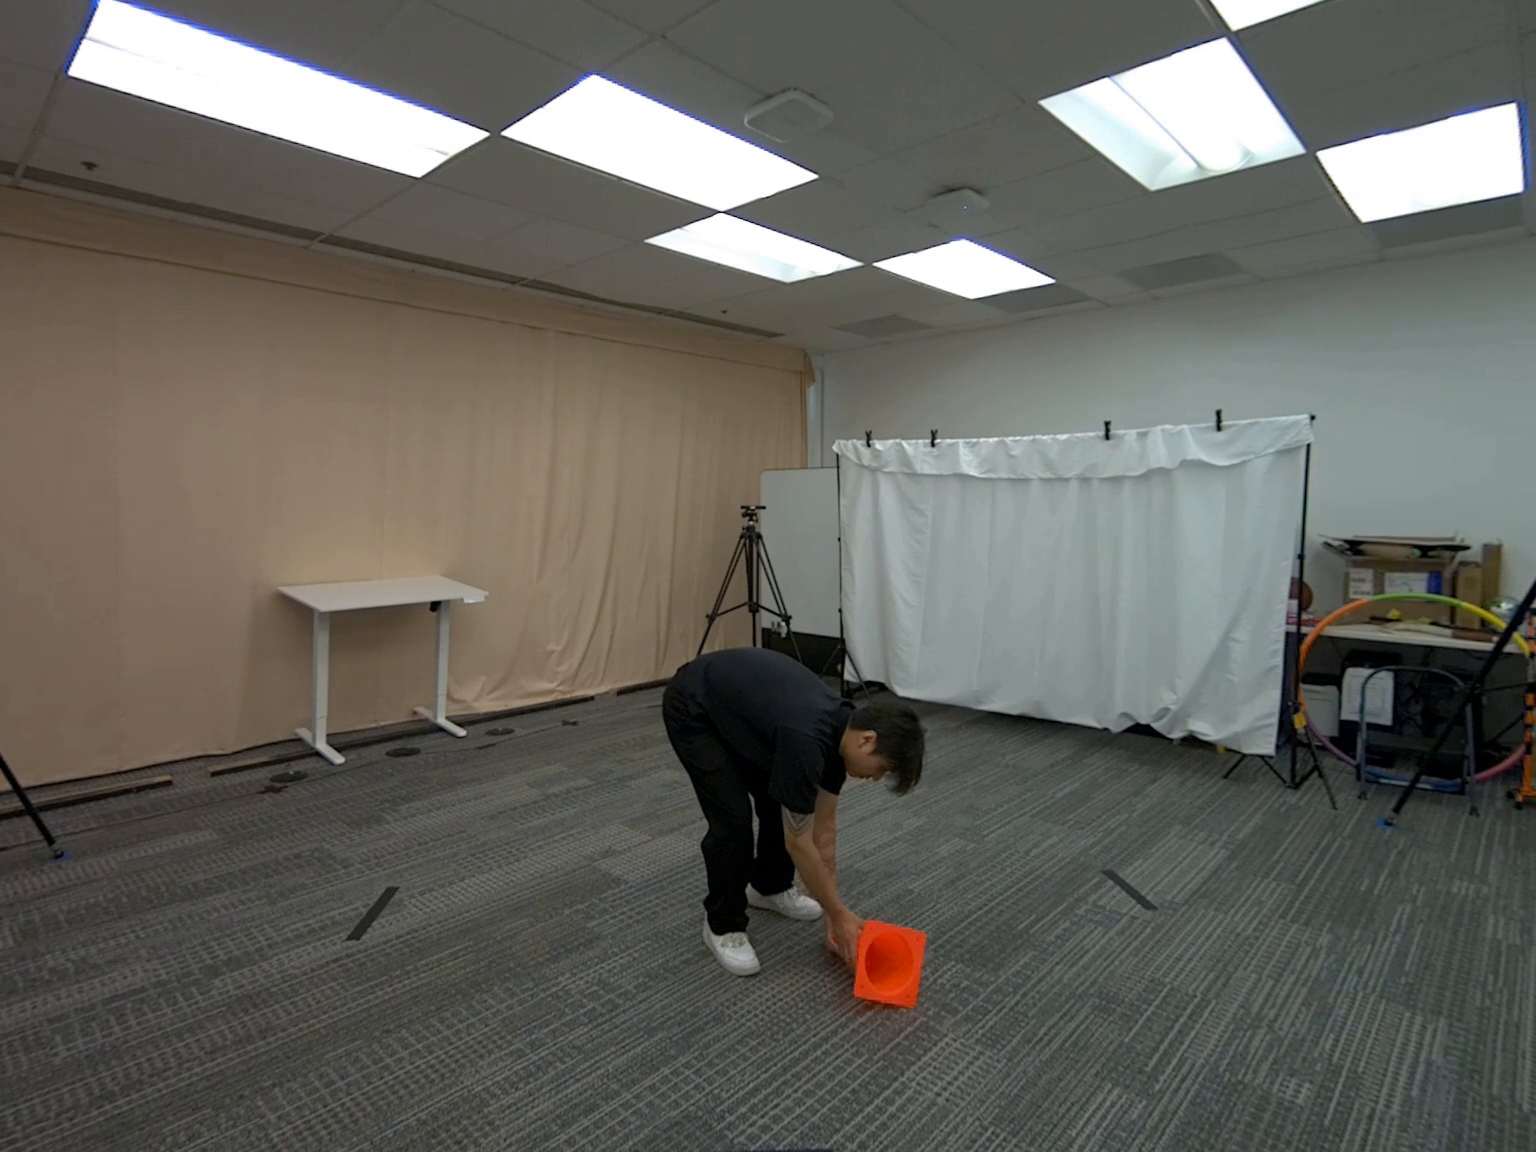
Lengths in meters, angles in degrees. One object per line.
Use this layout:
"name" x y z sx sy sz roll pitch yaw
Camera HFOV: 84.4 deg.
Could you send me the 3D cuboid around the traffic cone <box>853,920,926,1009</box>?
"traffic cone" 0.273 1.117 2.509 0.199 0.206 0.389 21 -17 -17
